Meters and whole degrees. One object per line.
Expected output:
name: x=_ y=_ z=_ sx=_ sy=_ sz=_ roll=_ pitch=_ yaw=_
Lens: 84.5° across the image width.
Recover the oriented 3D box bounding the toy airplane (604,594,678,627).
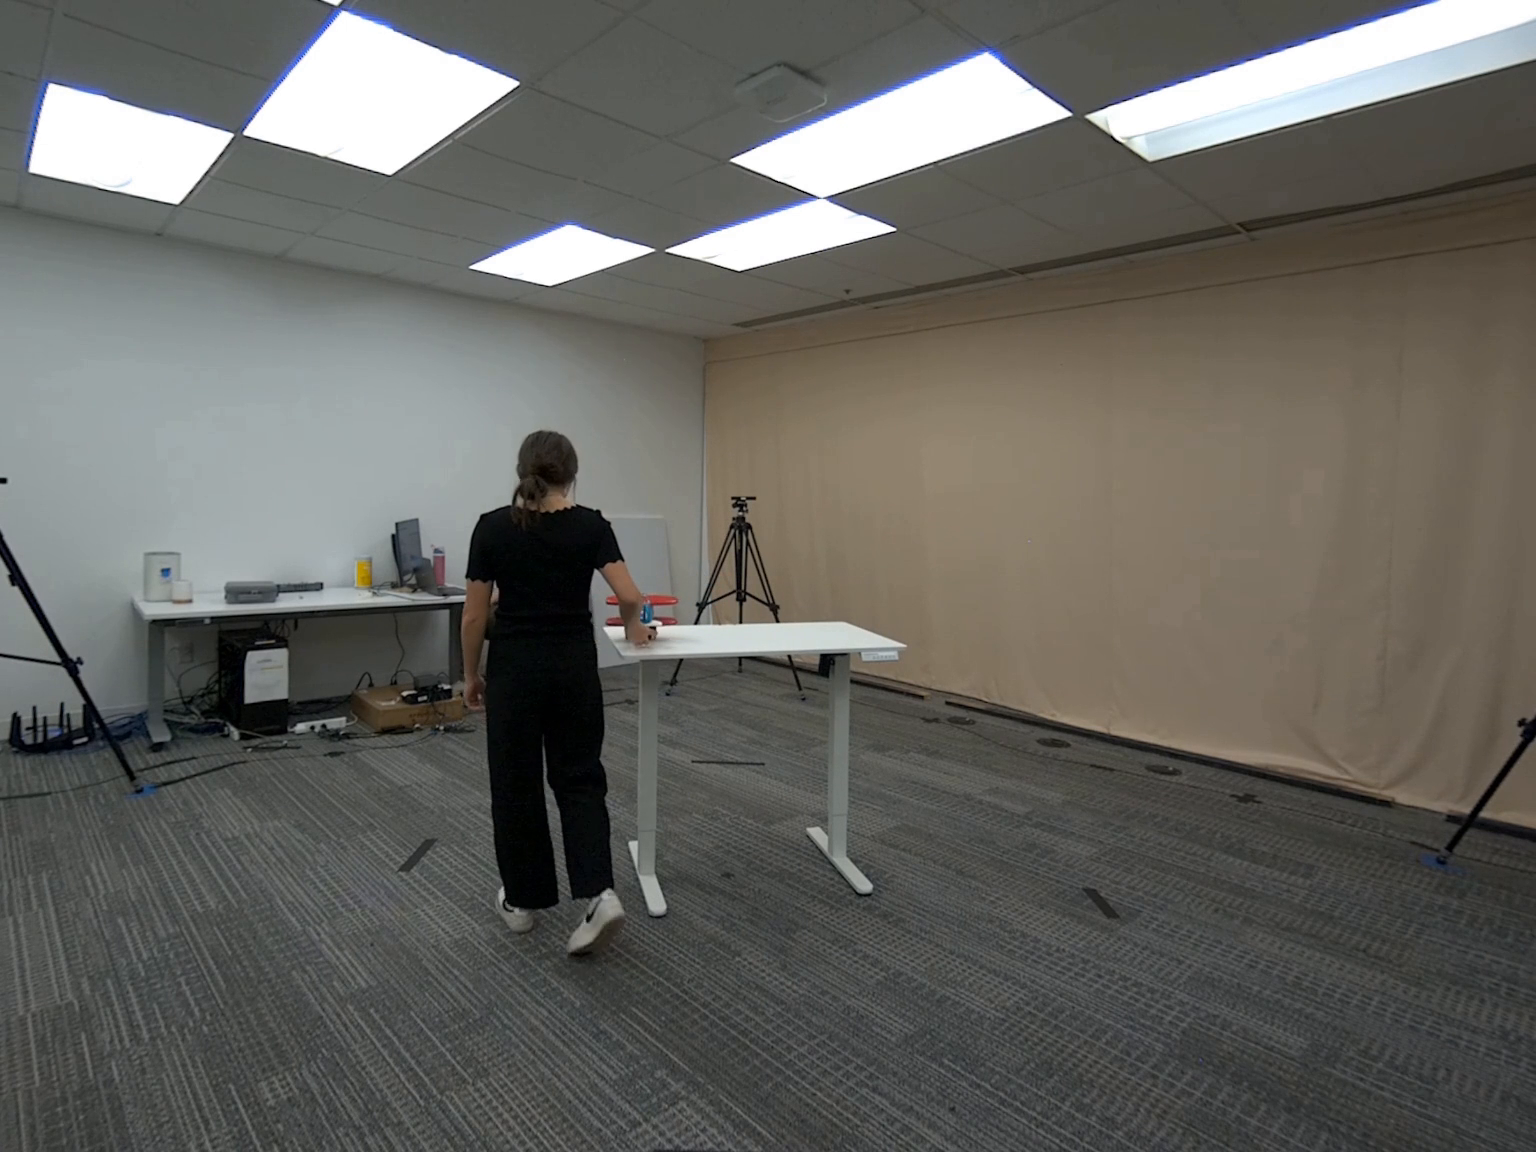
toy airplane: x=-0.432 y=0.146 z=2.958 sx=0.245 sy=0.157 sz=0.264 roll=1 pitch=-3 yaw=-37
